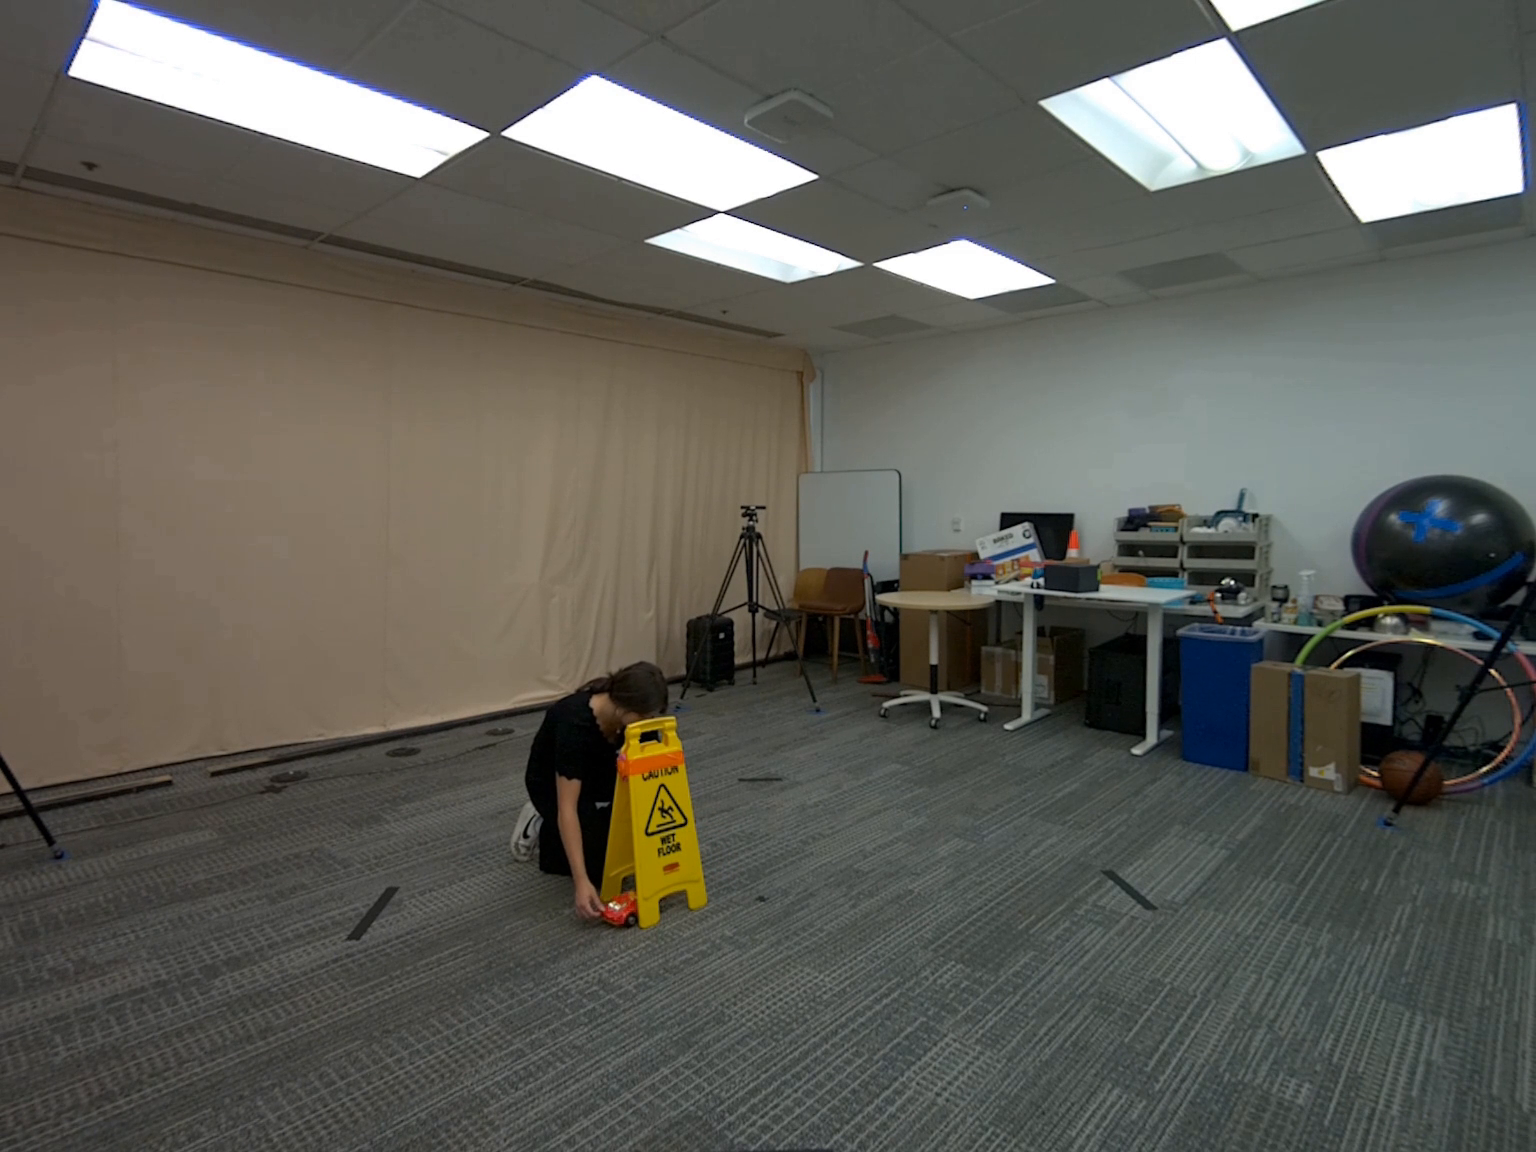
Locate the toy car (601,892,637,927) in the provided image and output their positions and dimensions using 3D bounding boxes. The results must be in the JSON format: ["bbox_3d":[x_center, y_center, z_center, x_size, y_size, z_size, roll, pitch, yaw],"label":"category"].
[{"bbox_3d":[-0.464,1.126,2.874,0.135,0.083,0.246,7,-1,38],"label":"toy car"}]
